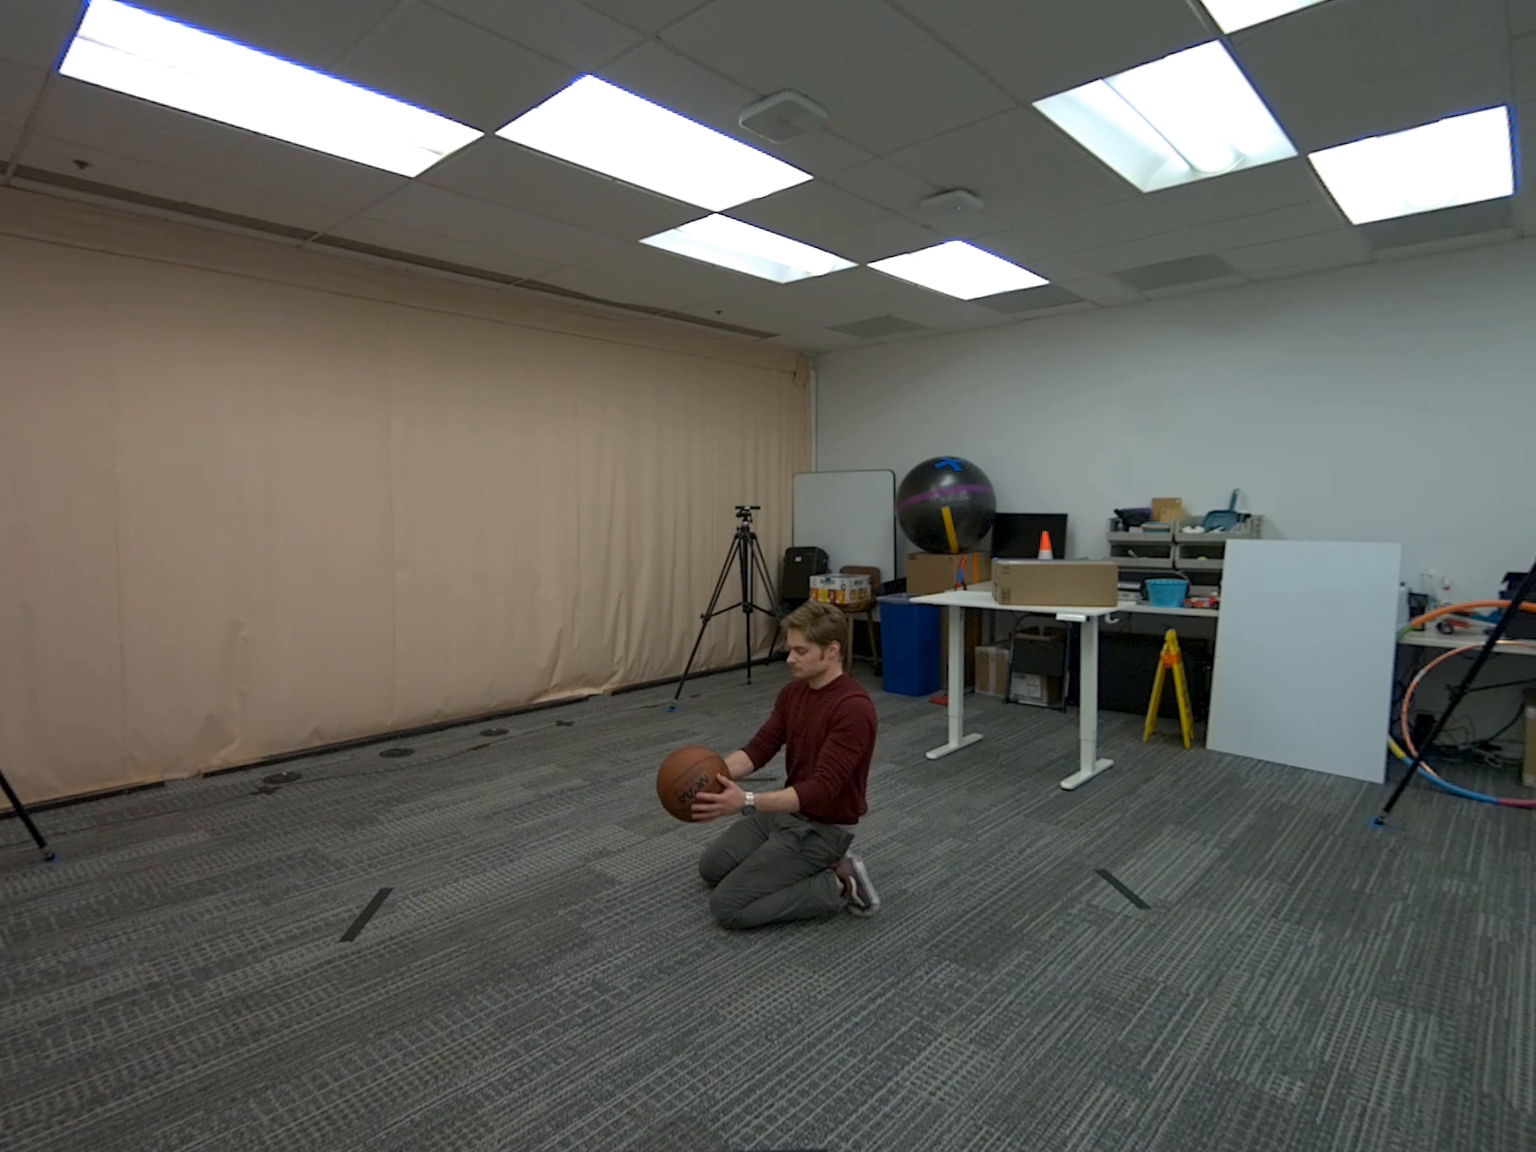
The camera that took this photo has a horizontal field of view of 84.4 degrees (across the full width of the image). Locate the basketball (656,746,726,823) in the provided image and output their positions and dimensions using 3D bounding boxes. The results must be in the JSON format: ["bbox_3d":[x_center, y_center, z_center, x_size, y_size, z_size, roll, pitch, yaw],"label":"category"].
[{"bbox_3d":[-0.219,0.673,2.678,0.236,0.235,0.237,0,4,-2],"label":"basketball"}]
